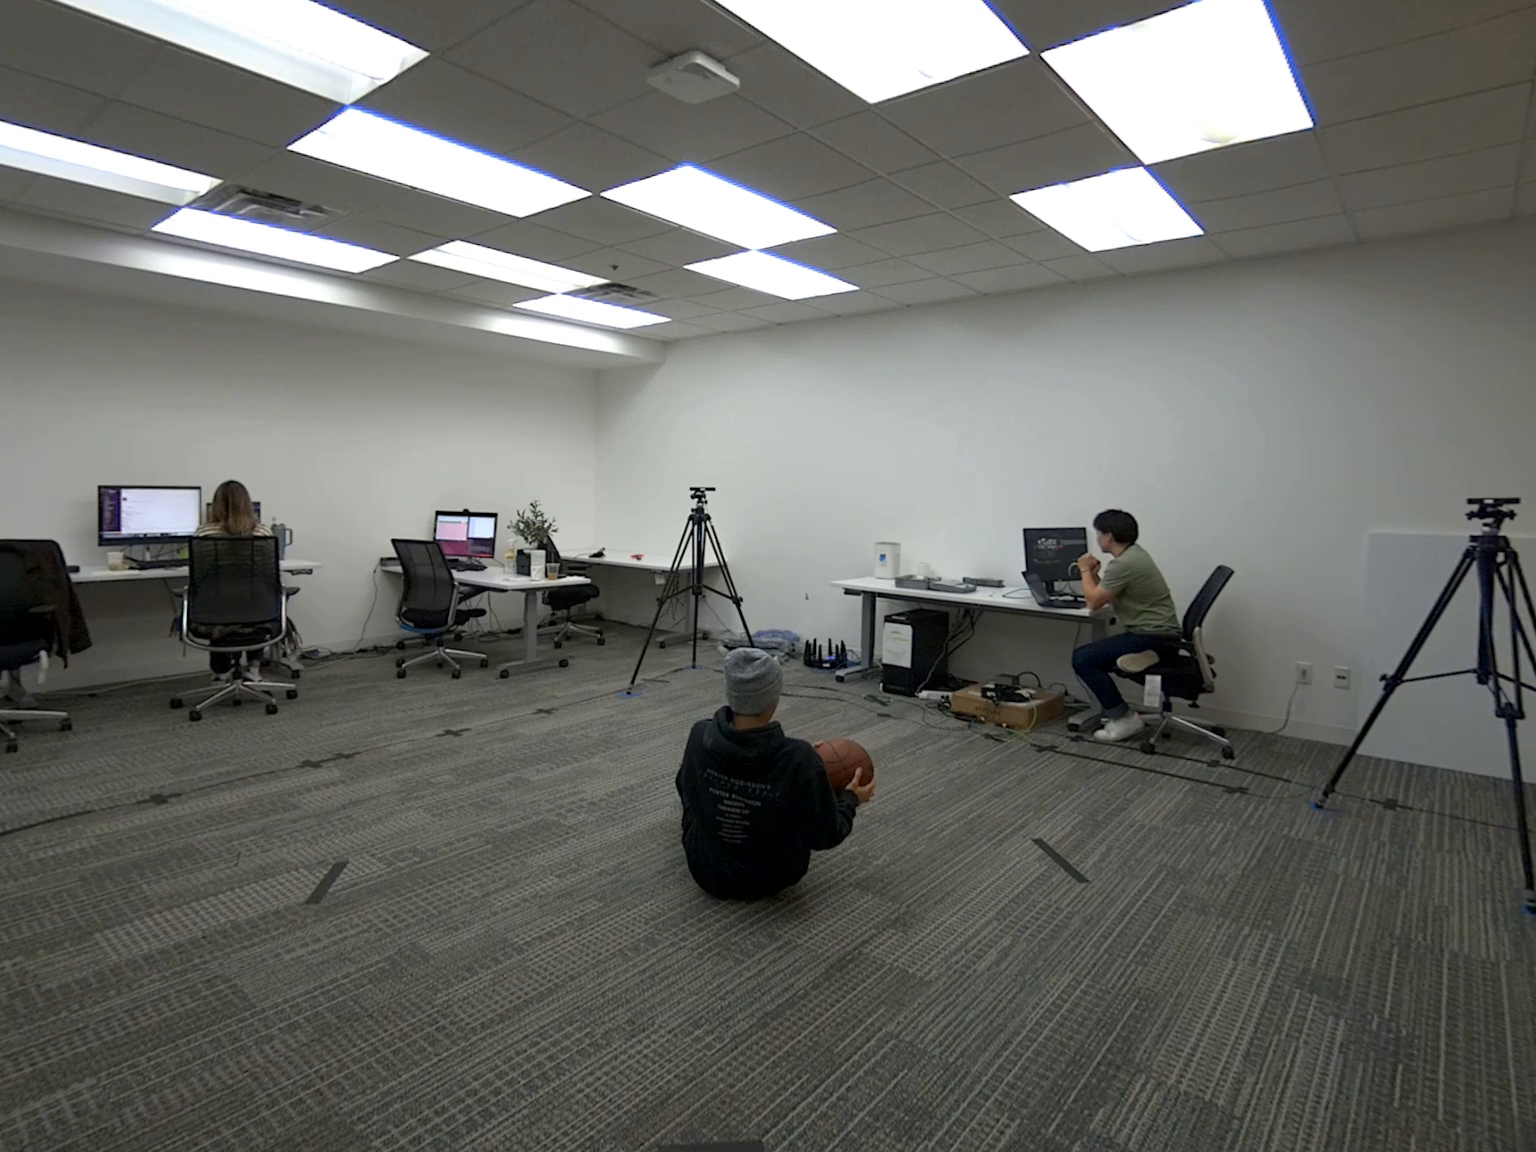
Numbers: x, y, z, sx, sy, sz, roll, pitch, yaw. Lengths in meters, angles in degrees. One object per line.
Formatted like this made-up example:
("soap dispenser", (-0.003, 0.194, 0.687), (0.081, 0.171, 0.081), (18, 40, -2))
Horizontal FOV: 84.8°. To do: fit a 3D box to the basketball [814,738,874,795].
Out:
("basketball", (0.250, 0.707, 3.090), (0.235, 0.235, 0.237), (1, 4, -2))
